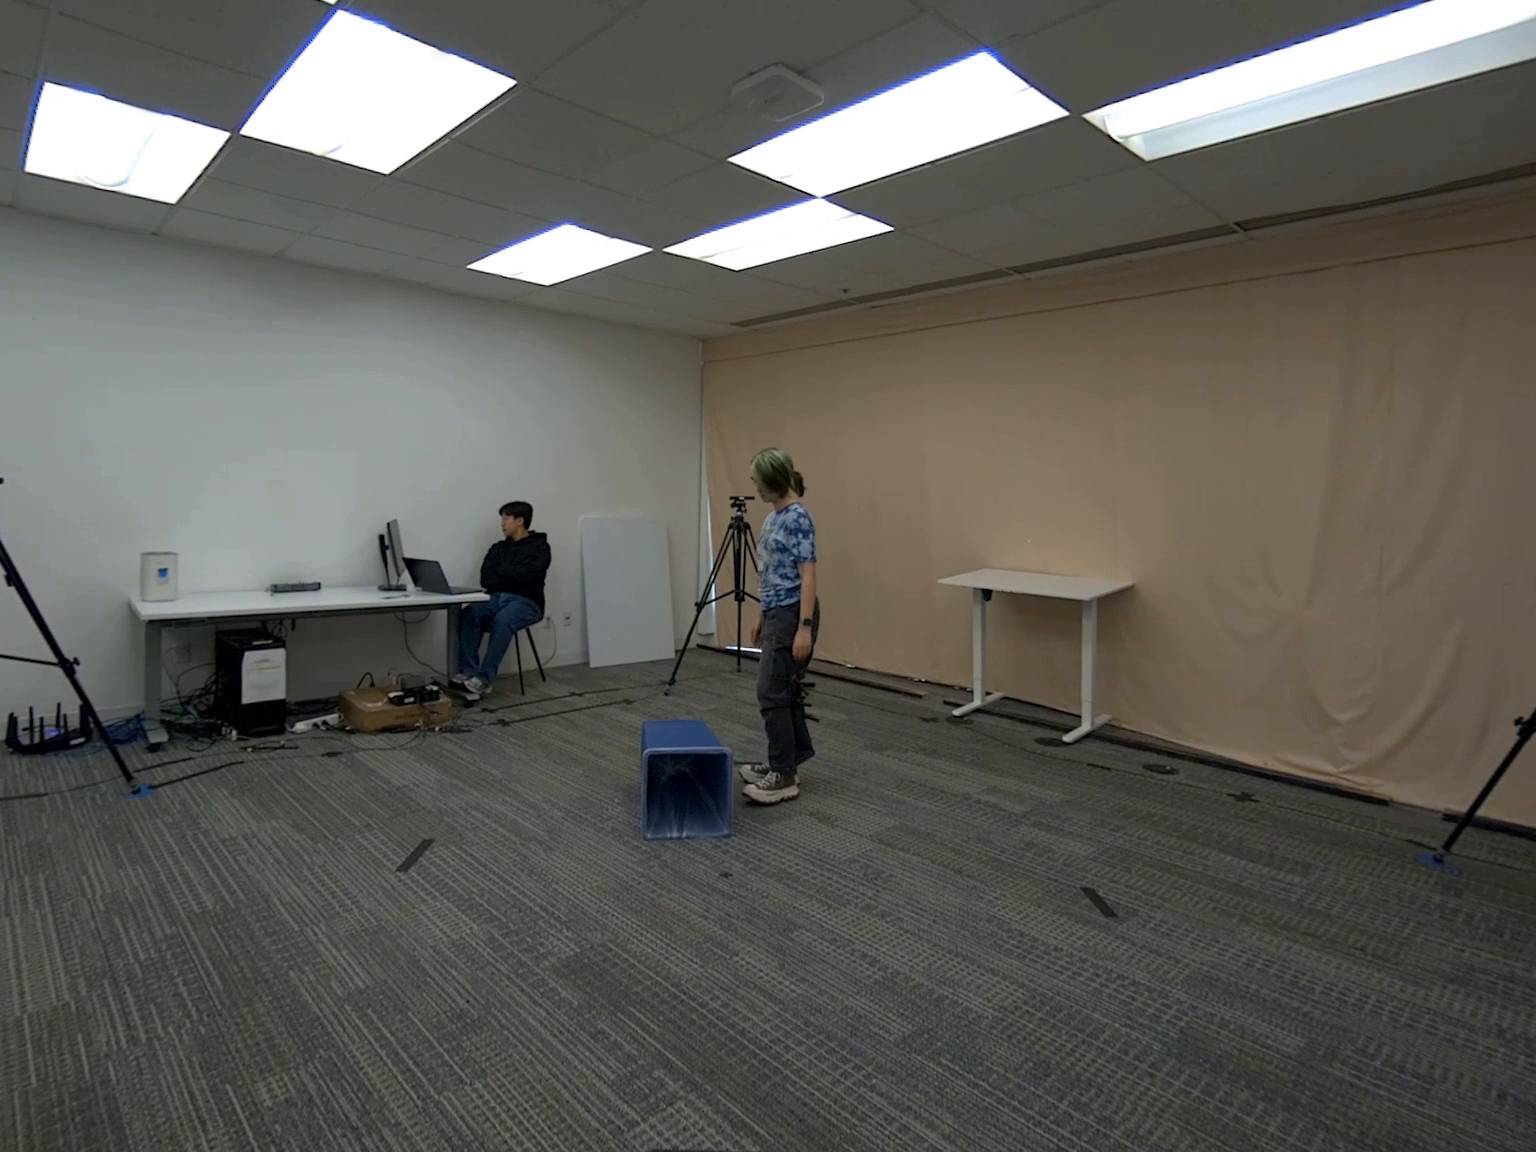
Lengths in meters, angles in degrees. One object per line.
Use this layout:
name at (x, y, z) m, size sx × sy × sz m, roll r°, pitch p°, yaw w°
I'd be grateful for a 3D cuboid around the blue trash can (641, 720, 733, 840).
blue trash can at (-0.405, 0.863, 3.766) m, size 0.375 × 0.373 × 0.720 m, roll 1°, pitch 3°, yaw -11°
